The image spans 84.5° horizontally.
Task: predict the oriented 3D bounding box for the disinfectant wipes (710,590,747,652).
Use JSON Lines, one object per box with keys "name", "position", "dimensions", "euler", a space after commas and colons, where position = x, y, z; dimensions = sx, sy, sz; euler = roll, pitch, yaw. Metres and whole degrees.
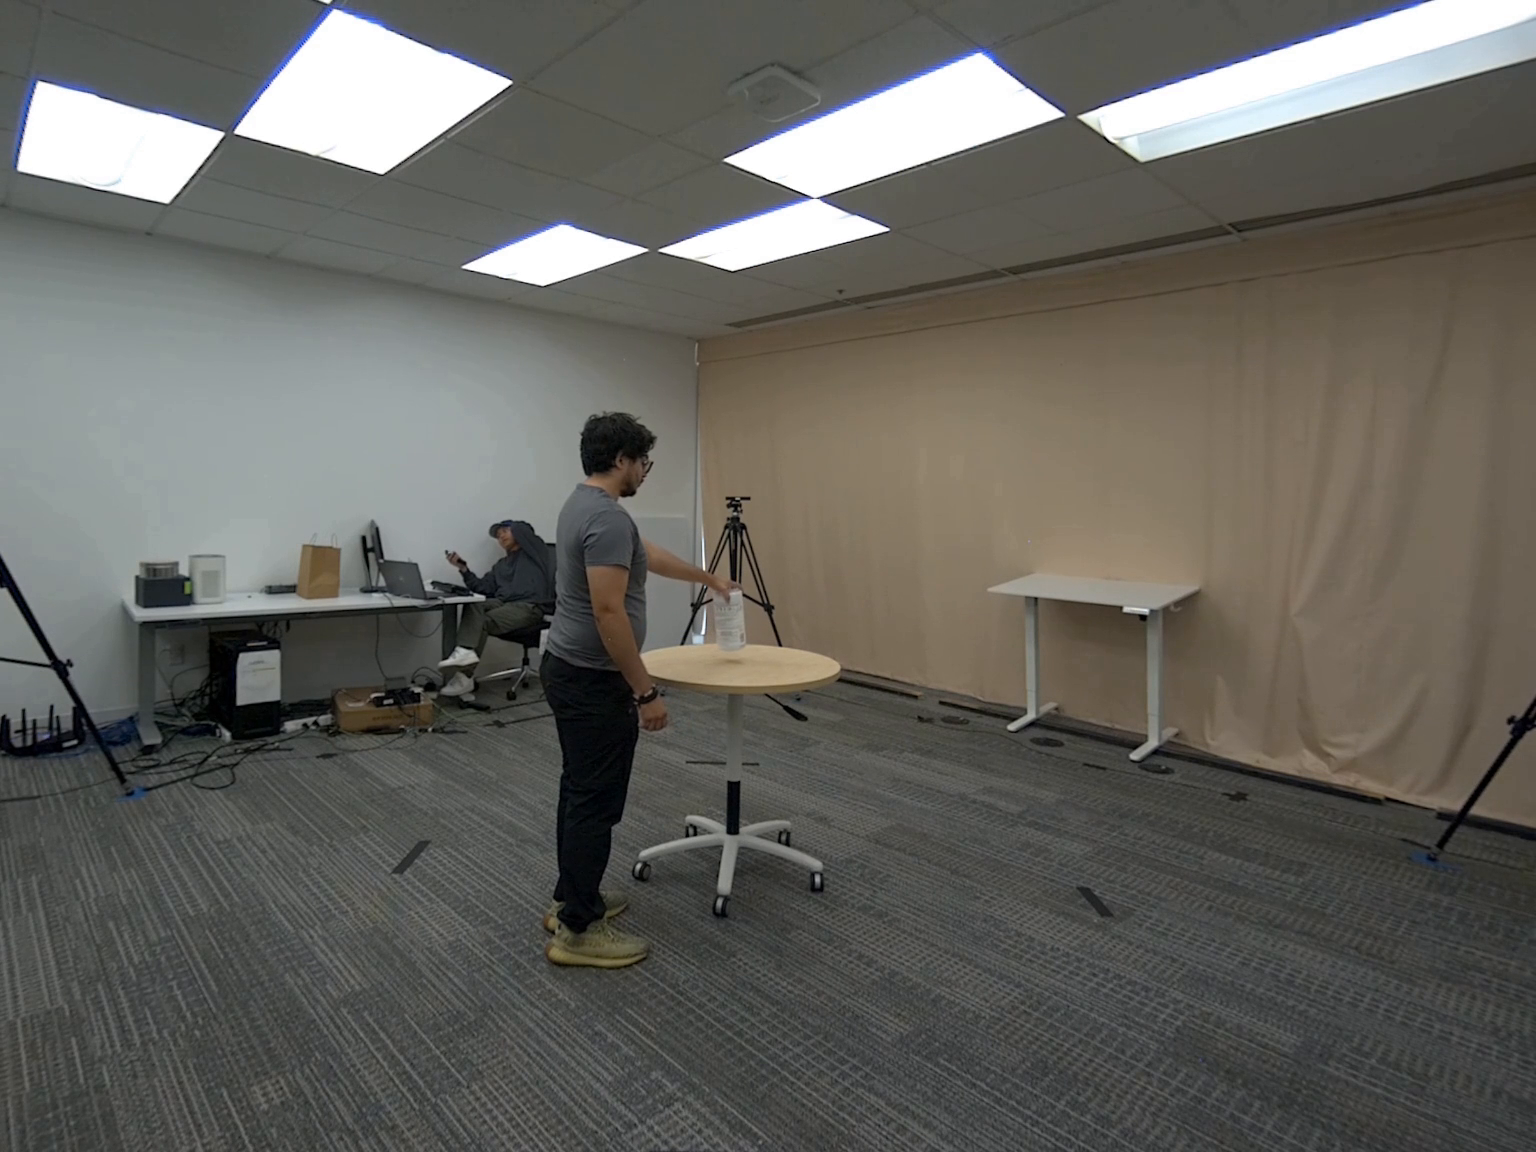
{"name": "disinfectant wipes", "position": [-0.145, 0.155, 3.125], "dimensions": [0.118, 0.217, 0.118], "euler": [-4, 5, -1]}
